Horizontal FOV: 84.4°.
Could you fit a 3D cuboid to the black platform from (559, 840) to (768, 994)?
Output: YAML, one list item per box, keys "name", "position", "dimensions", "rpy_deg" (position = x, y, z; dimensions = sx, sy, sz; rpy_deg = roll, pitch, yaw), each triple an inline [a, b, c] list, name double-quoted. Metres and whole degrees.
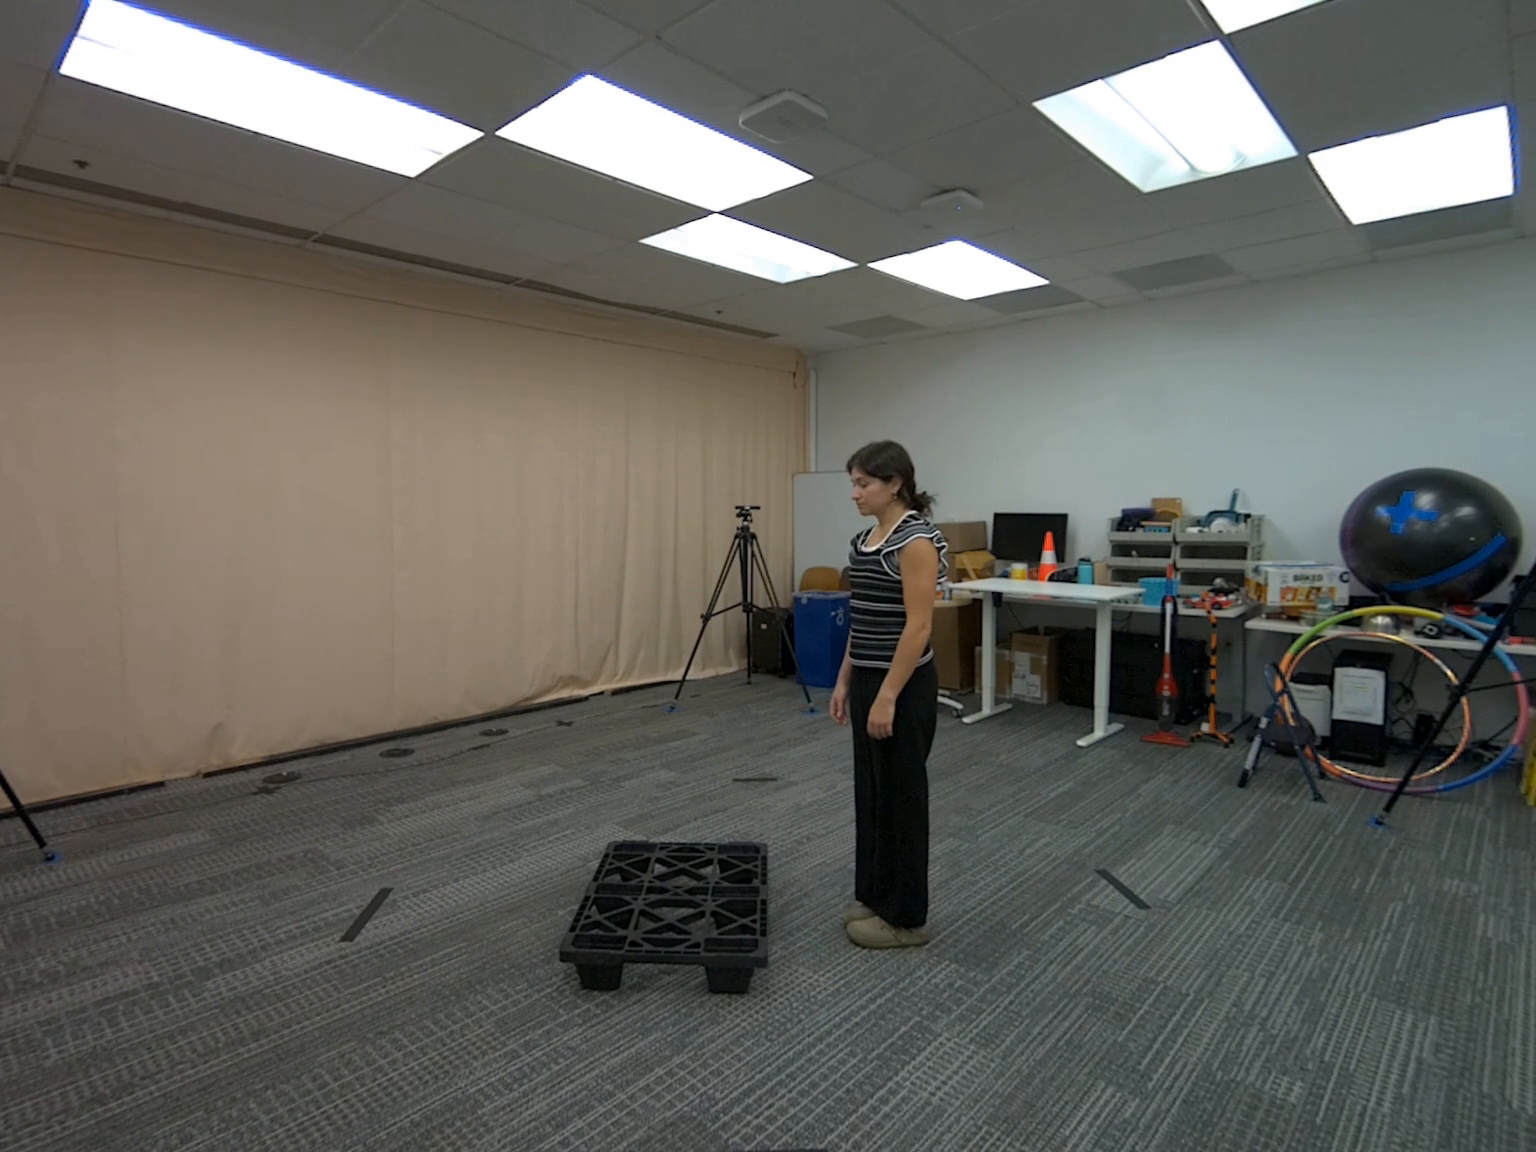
- name: "black platform"
  position: [-0.294, 1.095, 2.773]
  dimensions: [0.607, 0.143, 0.805]
  rpy_deg: [0, 5, 1]
